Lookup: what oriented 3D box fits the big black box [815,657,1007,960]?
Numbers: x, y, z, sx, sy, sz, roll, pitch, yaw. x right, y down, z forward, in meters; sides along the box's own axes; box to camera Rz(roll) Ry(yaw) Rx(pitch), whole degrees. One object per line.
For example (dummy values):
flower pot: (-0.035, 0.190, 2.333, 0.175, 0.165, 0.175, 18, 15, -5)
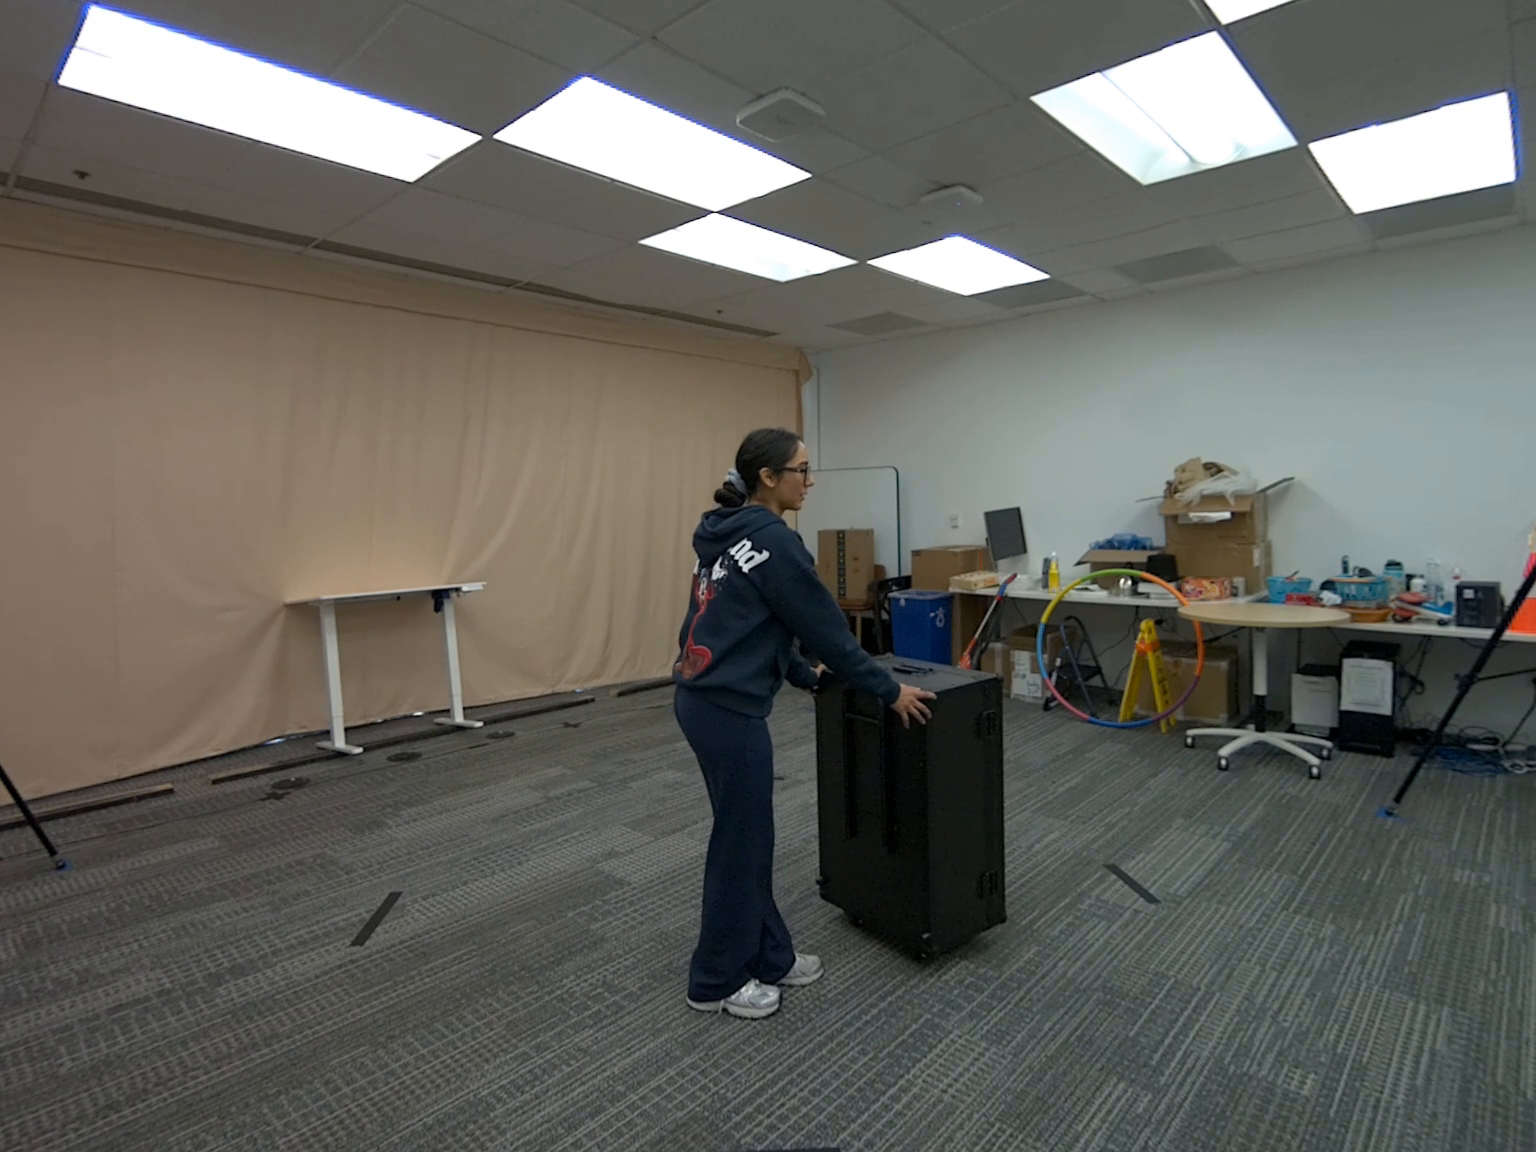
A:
big black box: (0.454, 0.736, 2.706, 0.385, 0.858, 0.538, -6, 6, -37)
